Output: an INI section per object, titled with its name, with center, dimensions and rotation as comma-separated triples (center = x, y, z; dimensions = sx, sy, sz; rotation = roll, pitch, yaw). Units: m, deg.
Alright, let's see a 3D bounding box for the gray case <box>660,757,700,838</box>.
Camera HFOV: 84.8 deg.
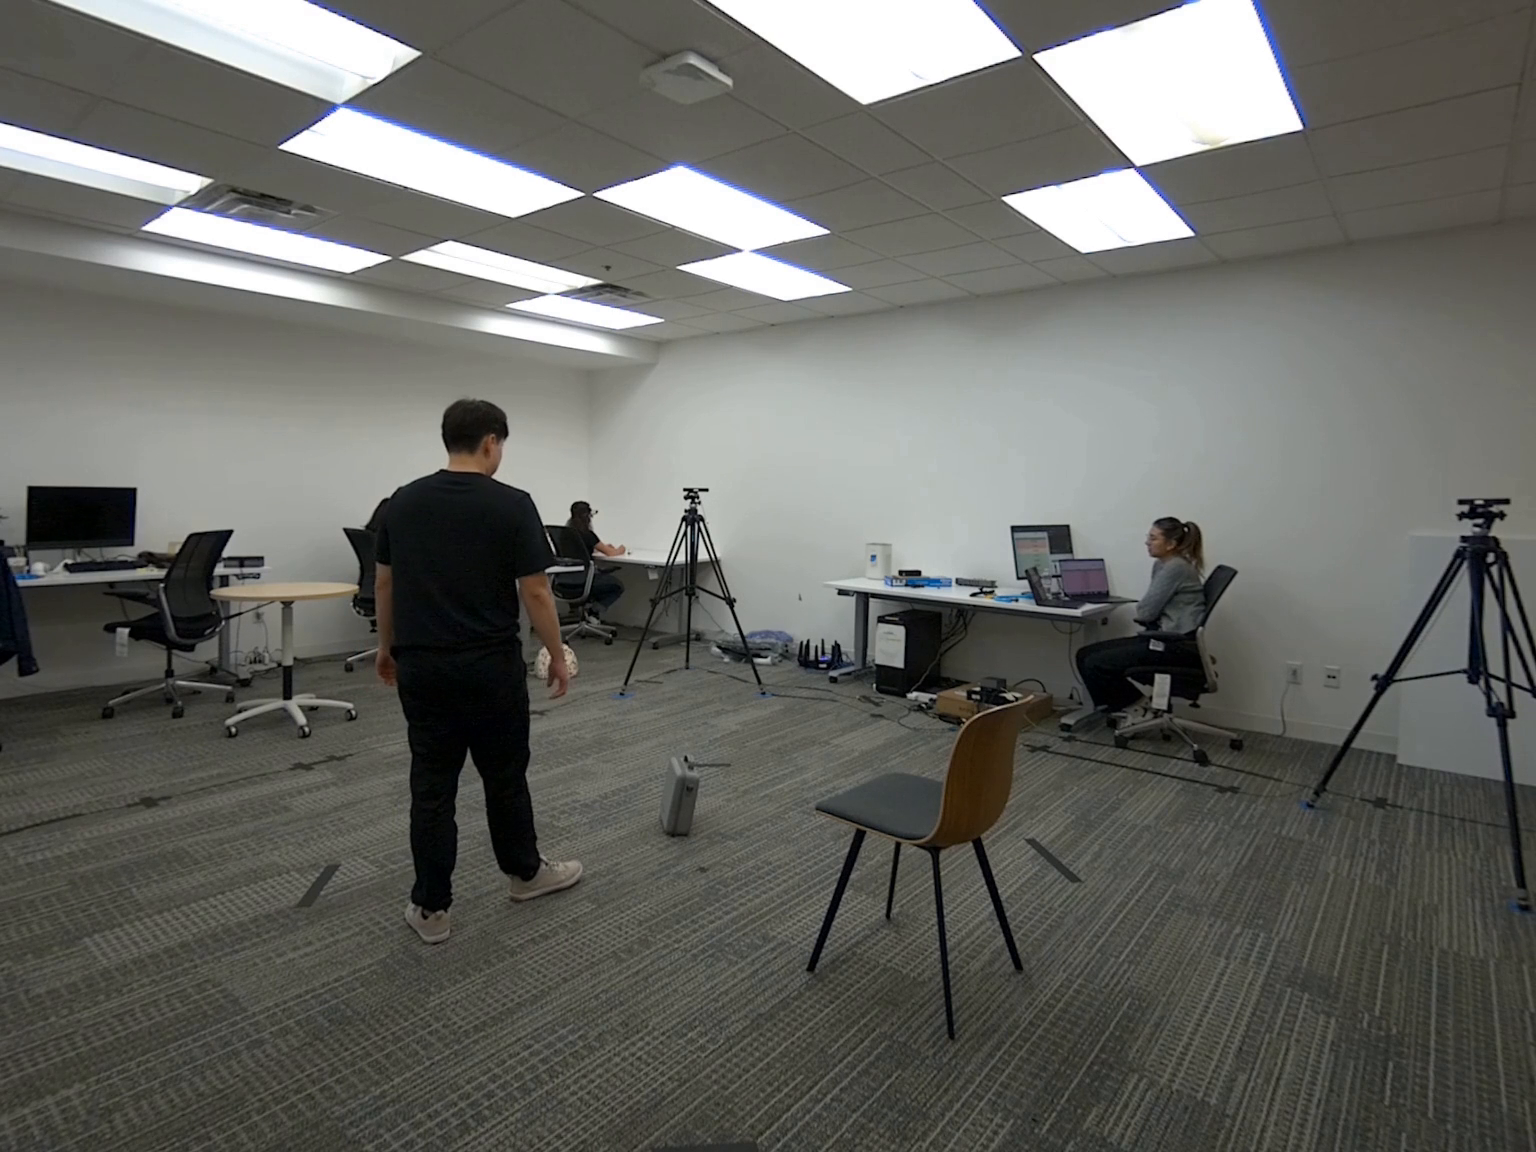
[gray case]
center = -0.374, 0.891, 3.512
dimensions = 0.103, 0.260, 0.261
rotation = 8, 4, -13
